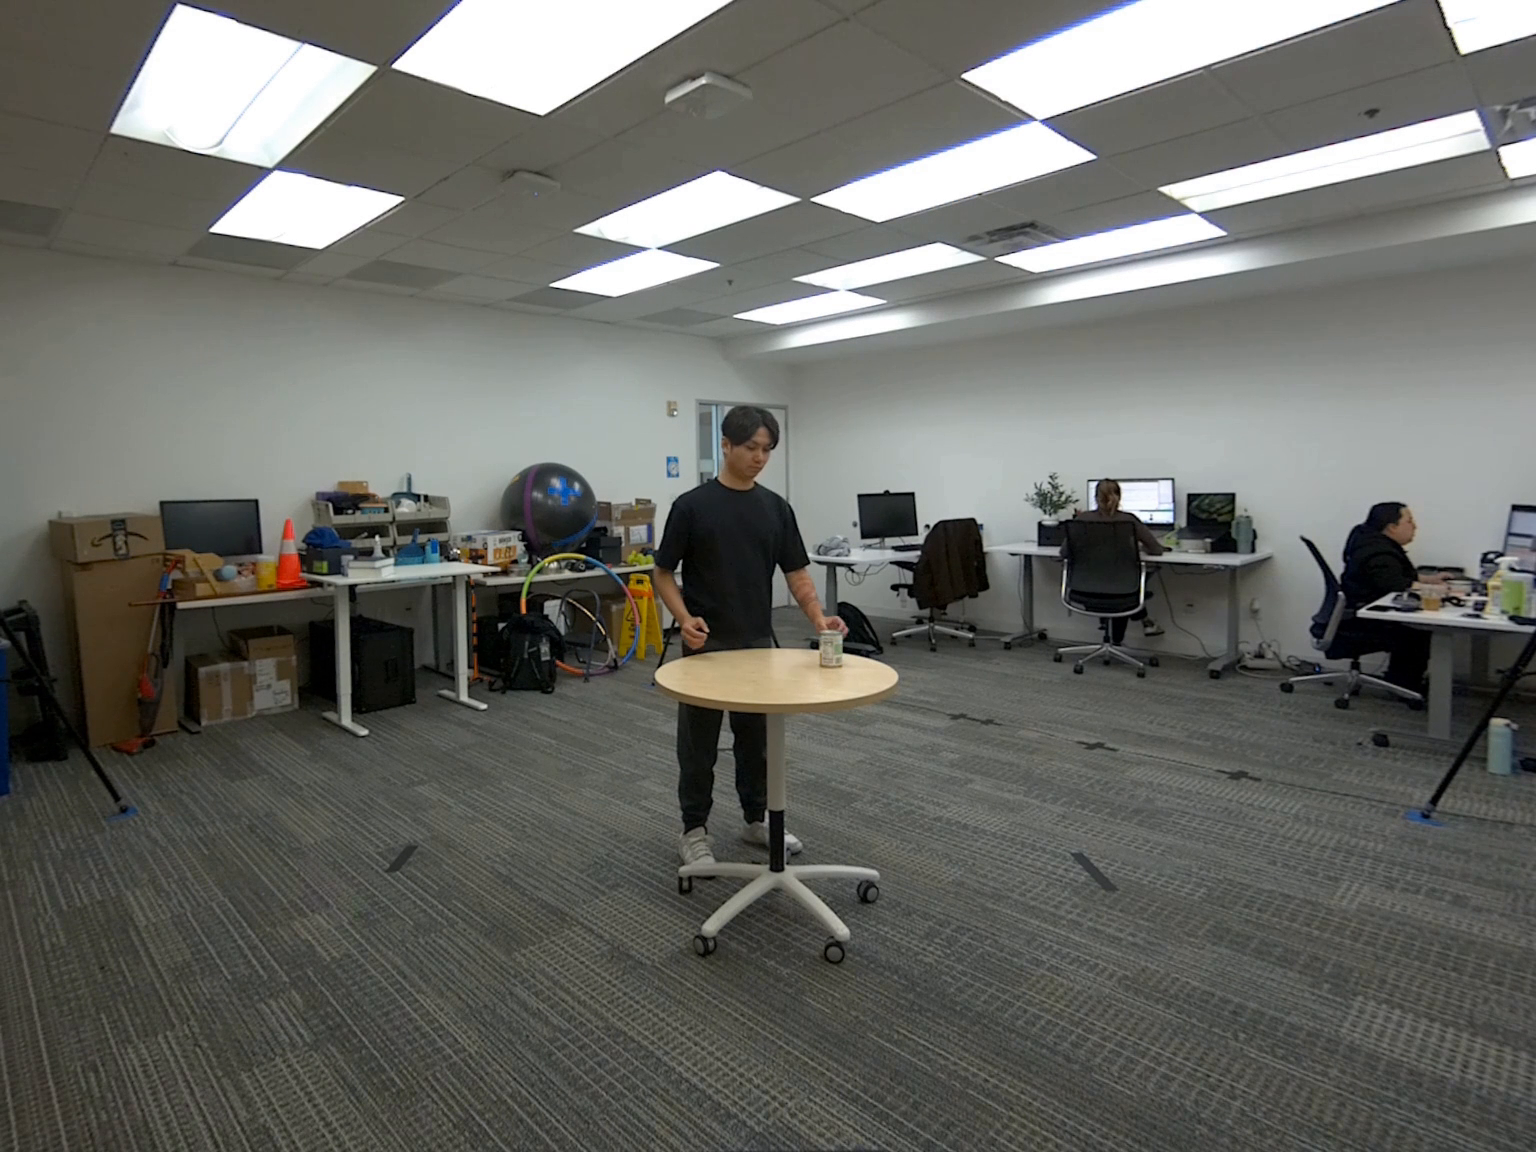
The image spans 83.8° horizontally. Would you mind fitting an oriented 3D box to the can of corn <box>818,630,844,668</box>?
[{"bbox_3d":[0.204,0.242,2.795,0.074,0.111,0.074,-2,3,-2],"label":"can of corn"}]
